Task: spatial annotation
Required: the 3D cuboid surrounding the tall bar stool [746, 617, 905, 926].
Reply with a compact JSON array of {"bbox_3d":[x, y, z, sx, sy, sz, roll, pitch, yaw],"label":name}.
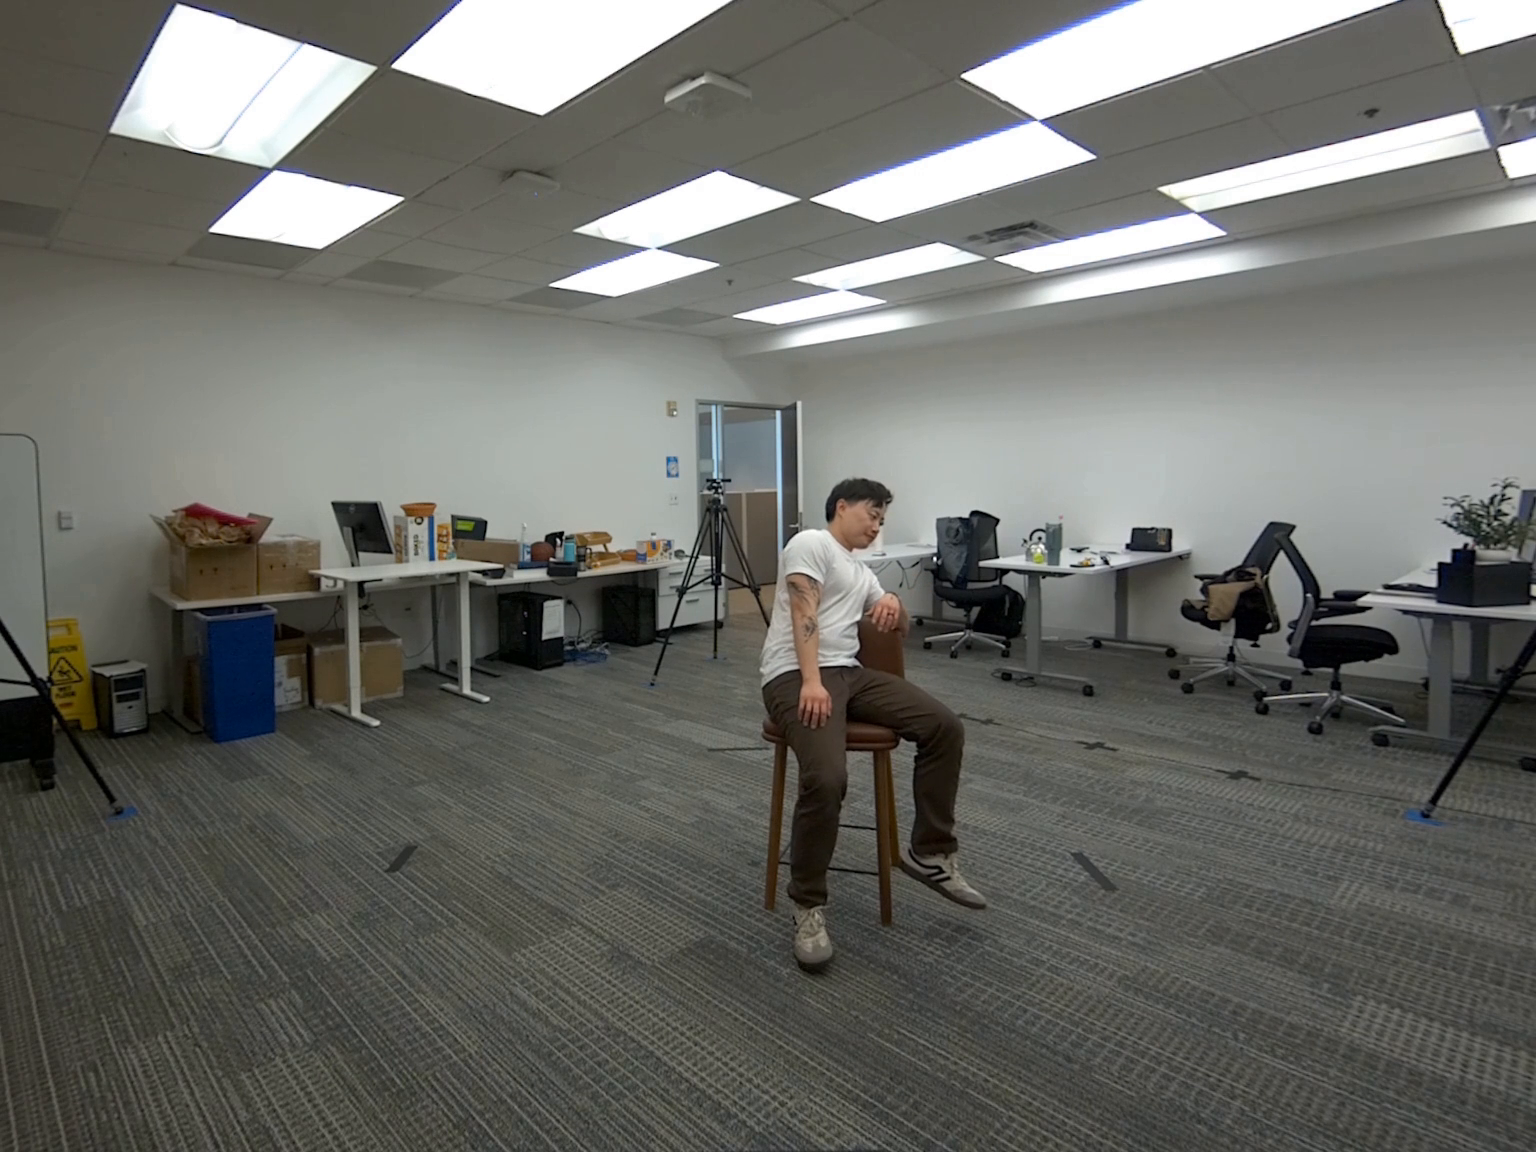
[{"bbox_3d":[0.240,0.634,2.905,0.464,0.888,0.461,1,2,17],"label":"tall bar stool"}]
